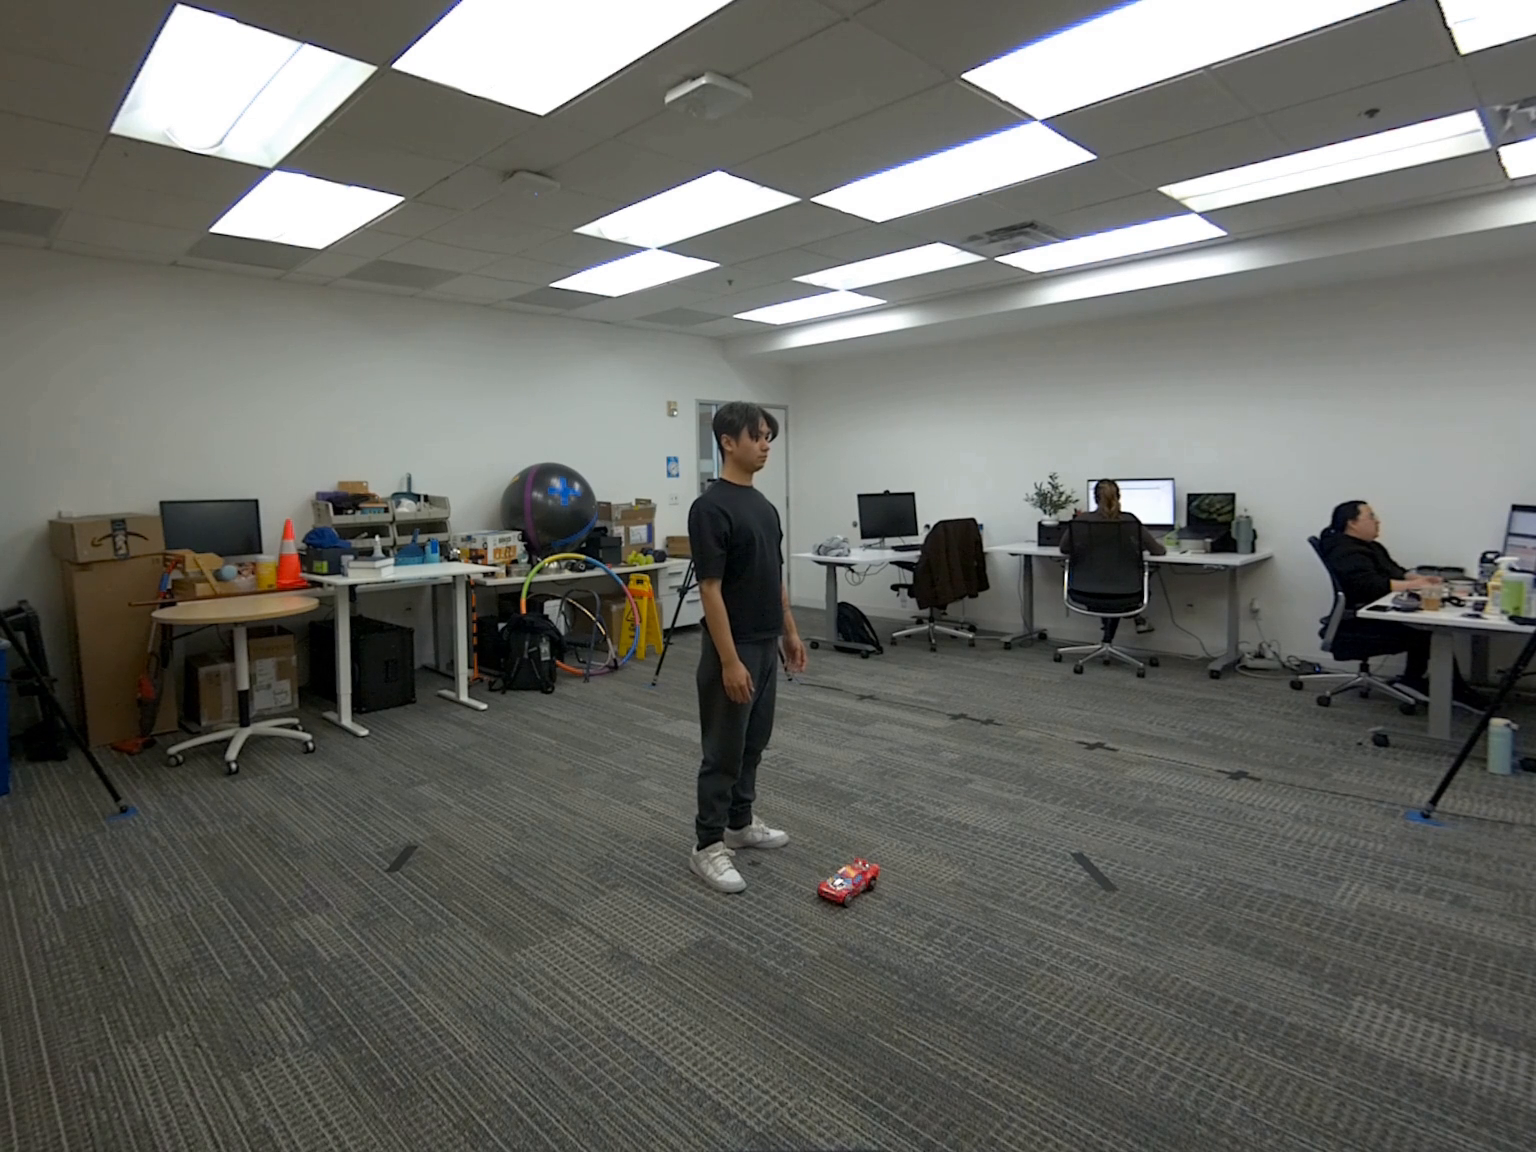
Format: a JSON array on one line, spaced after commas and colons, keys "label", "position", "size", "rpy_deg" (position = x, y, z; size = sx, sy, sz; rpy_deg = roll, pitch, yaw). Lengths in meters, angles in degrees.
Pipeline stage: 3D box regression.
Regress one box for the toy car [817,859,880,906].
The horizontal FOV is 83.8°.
[{"label": "toy car", "position": [0.280, 1.032, 2.883], "size": [0.134, 0.082, 0.250], "rpy_deg": [3, 18, 41]}]
